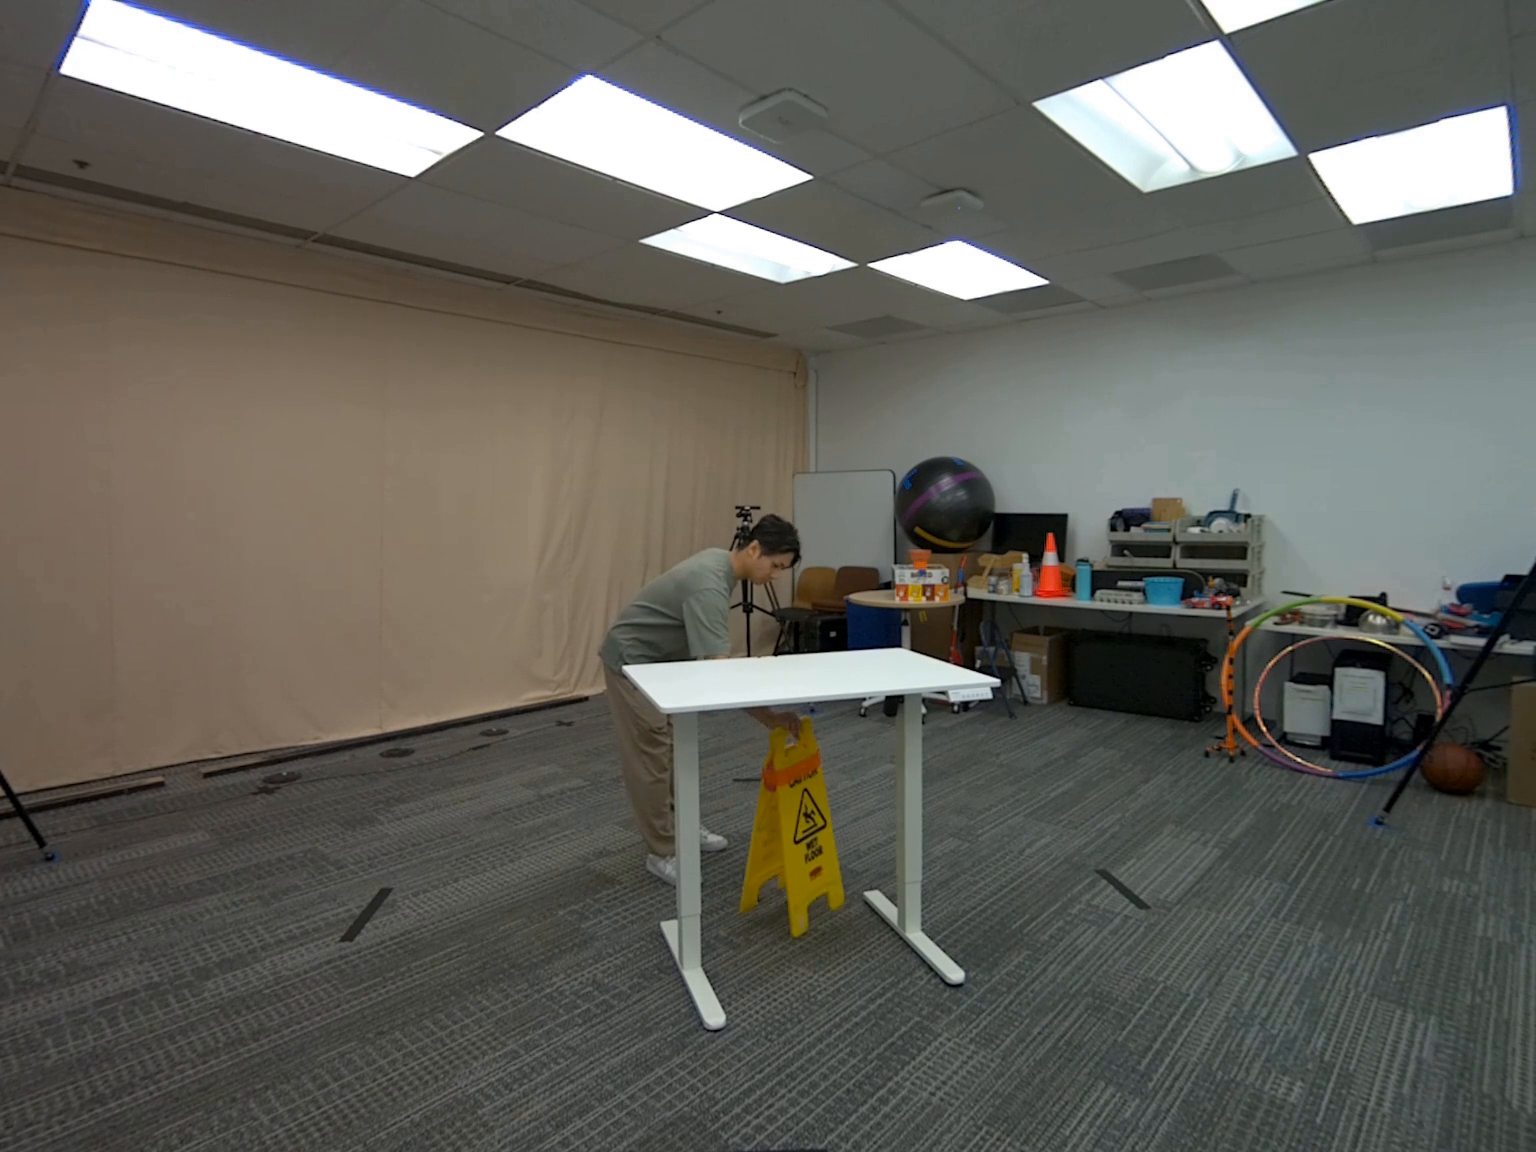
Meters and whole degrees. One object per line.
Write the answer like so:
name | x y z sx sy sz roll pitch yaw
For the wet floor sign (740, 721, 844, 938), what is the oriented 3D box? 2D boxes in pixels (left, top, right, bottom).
wet floor sign | 0.082 0.804 2.808 0.299 0.642 0.274 7 12 40
